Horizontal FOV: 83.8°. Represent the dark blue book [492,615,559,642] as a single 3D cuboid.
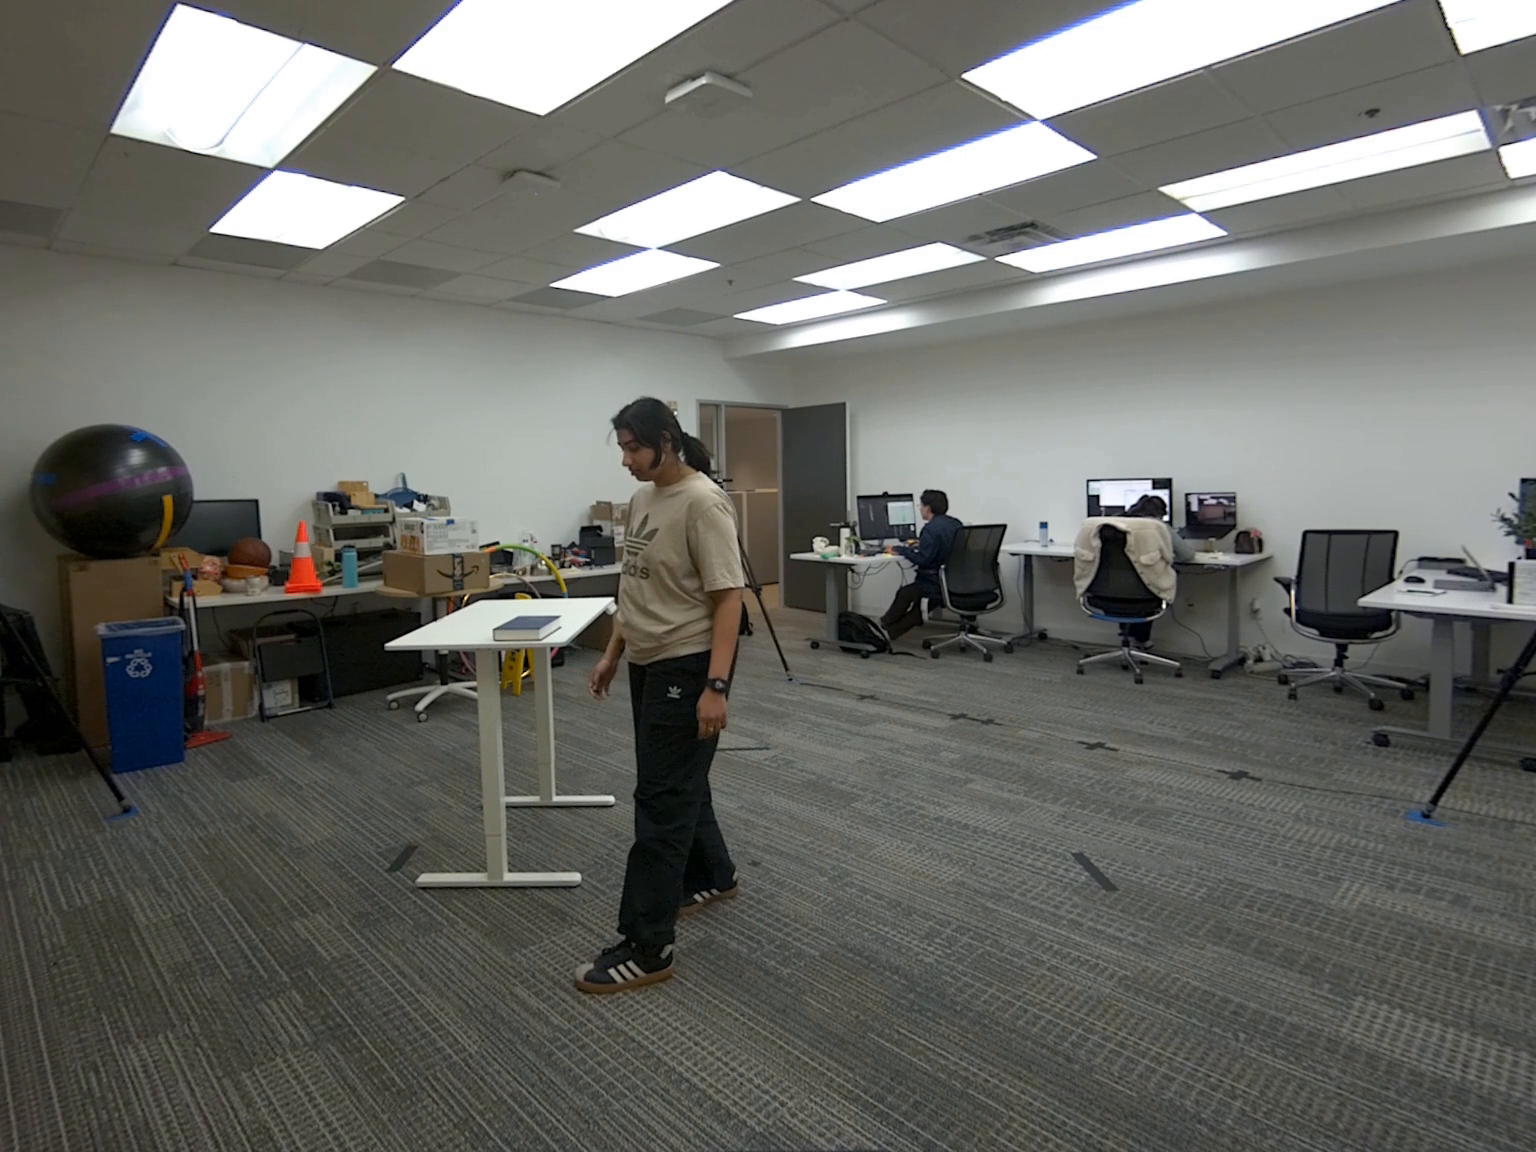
[{"bbox_3d":[-0.819,0.177,2.933,0.164,0.045,0.245,-3,7,5],"label":"dark blue book"}]
